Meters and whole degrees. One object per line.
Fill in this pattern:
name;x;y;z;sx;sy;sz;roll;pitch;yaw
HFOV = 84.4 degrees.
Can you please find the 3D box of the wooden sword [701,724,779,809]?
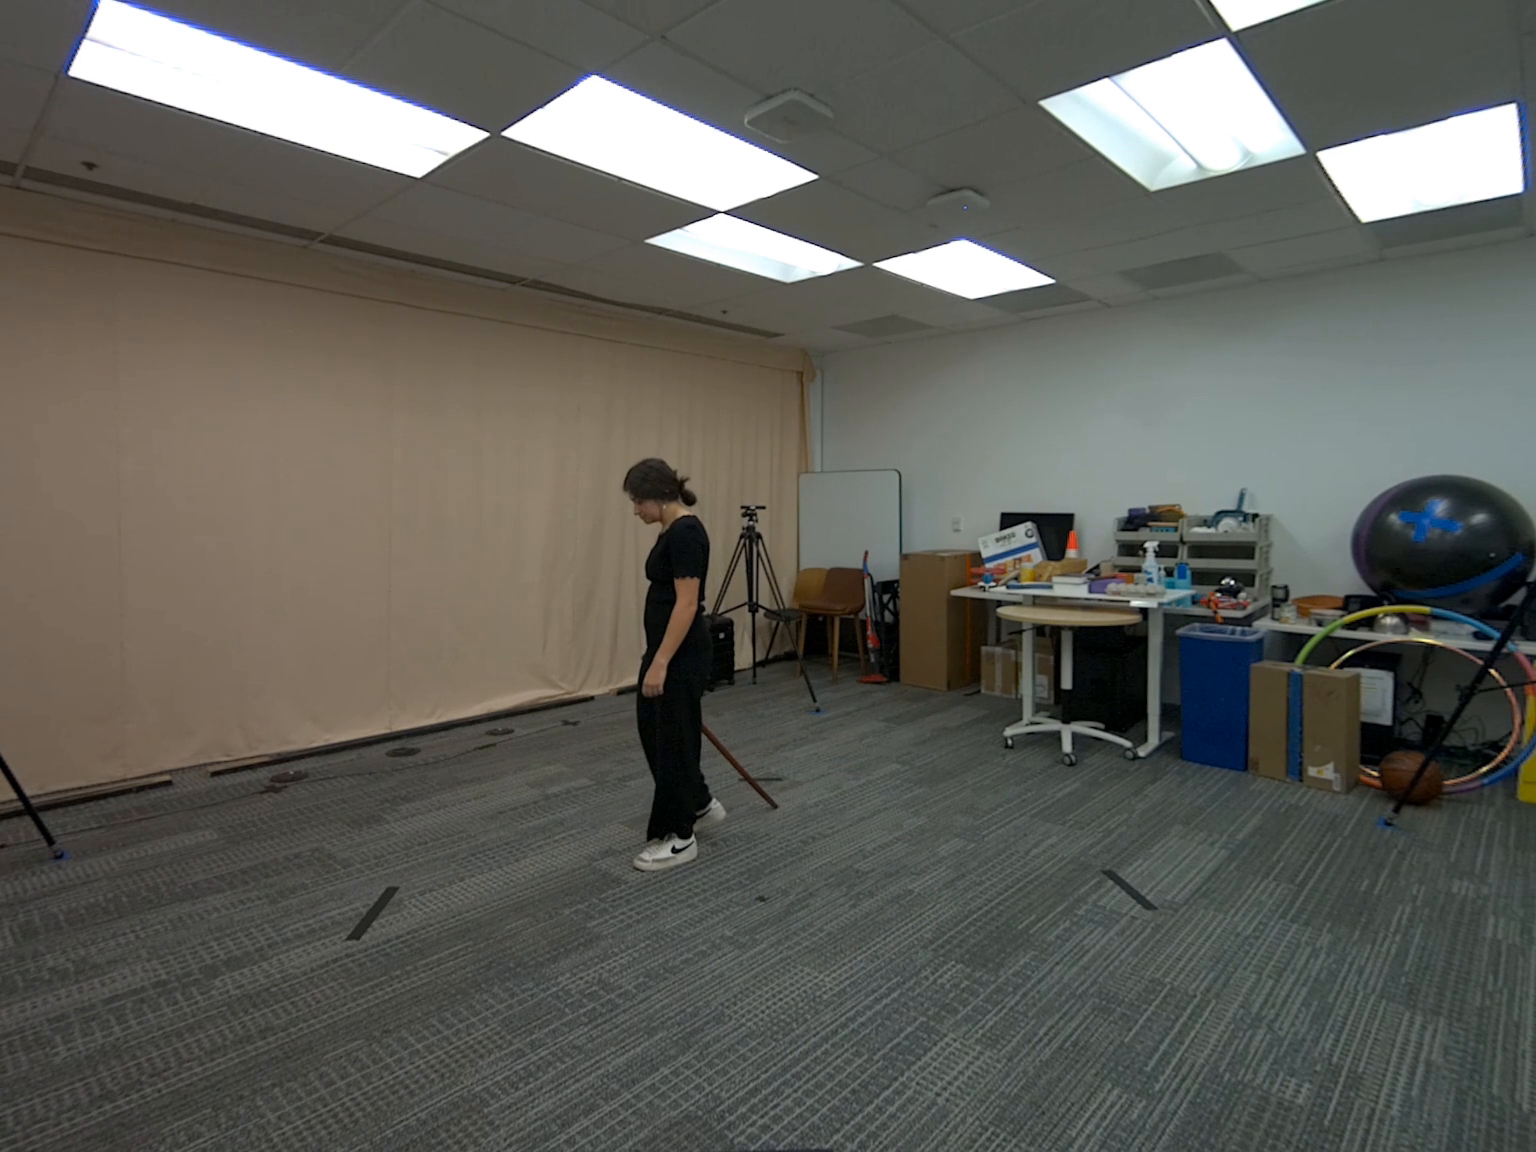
wooden sword;-0.234;0.718;3.691;0.024;1.000;0.052;-32;24;19
